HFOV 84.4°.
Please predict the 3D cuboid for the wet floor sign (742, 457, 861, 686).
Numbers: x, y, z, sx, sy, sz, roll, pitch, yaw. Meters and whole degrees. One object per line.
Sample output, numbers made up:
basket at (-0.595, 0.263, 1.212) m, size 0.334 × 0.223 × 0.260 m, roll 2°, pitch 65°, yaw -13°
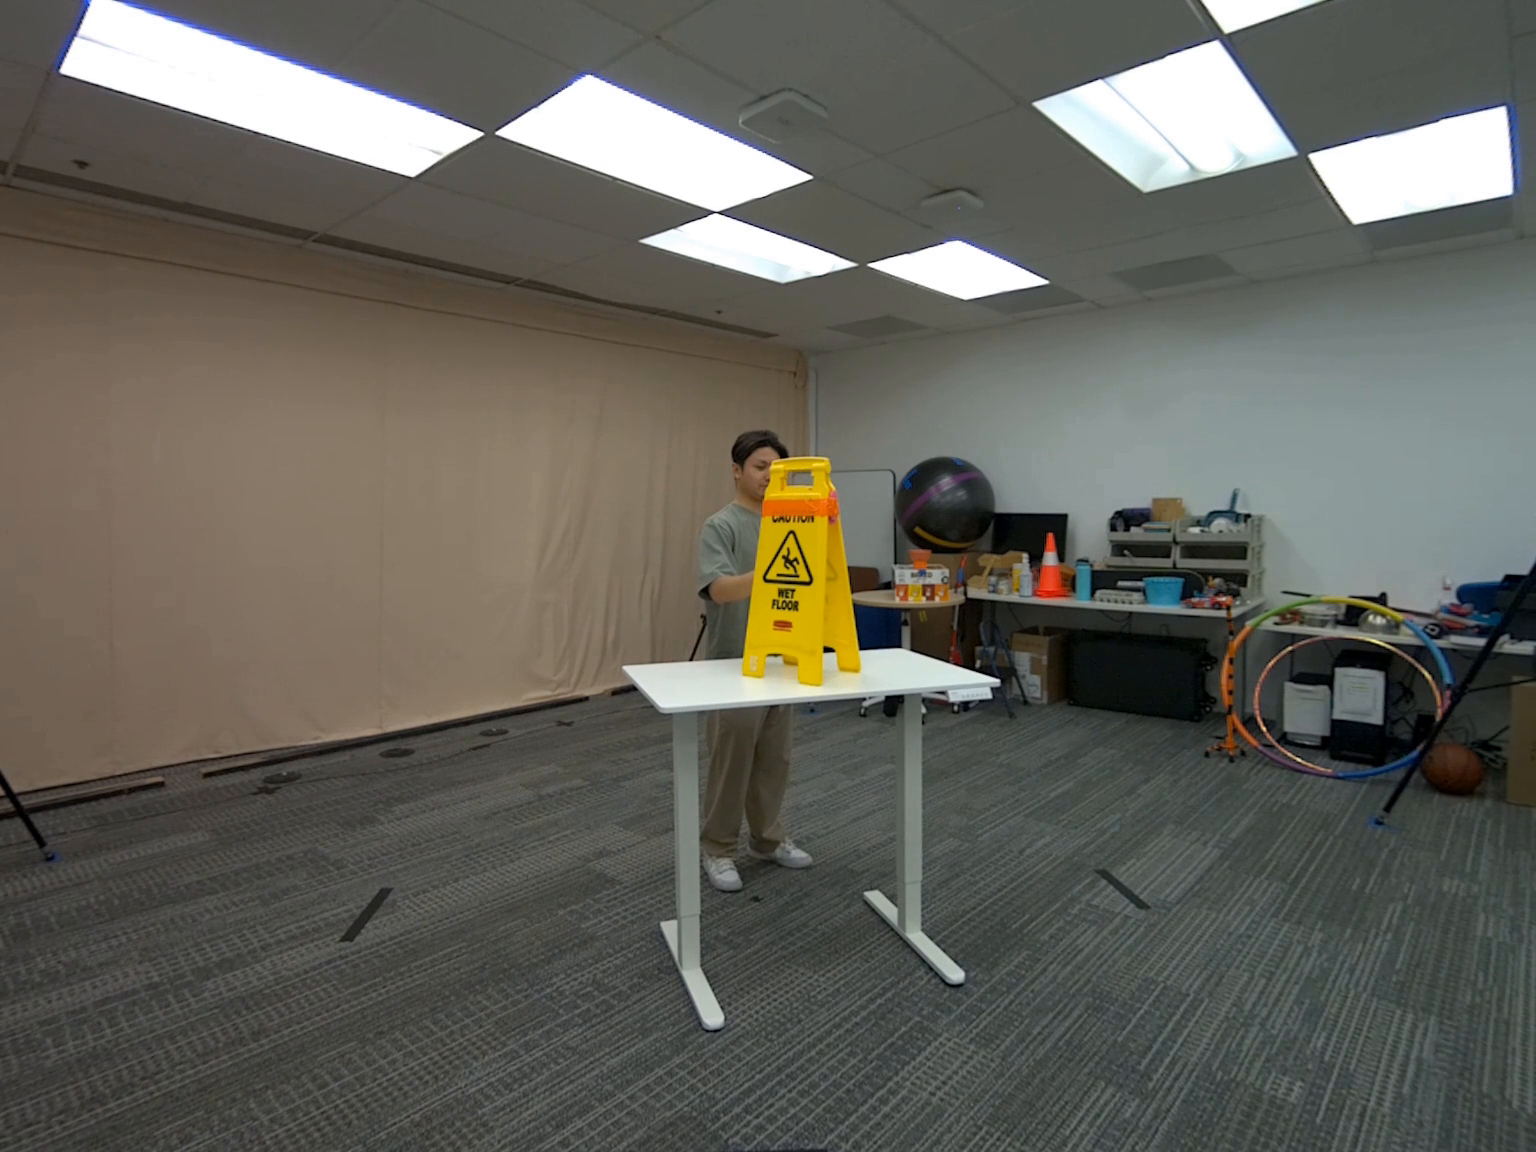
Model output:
wet floor sign at (0.103, -0.026, 2.527) m, size 0.291 × 0.645 × 0.281 m, roll 0°, pitch 3°, yaw 35°
